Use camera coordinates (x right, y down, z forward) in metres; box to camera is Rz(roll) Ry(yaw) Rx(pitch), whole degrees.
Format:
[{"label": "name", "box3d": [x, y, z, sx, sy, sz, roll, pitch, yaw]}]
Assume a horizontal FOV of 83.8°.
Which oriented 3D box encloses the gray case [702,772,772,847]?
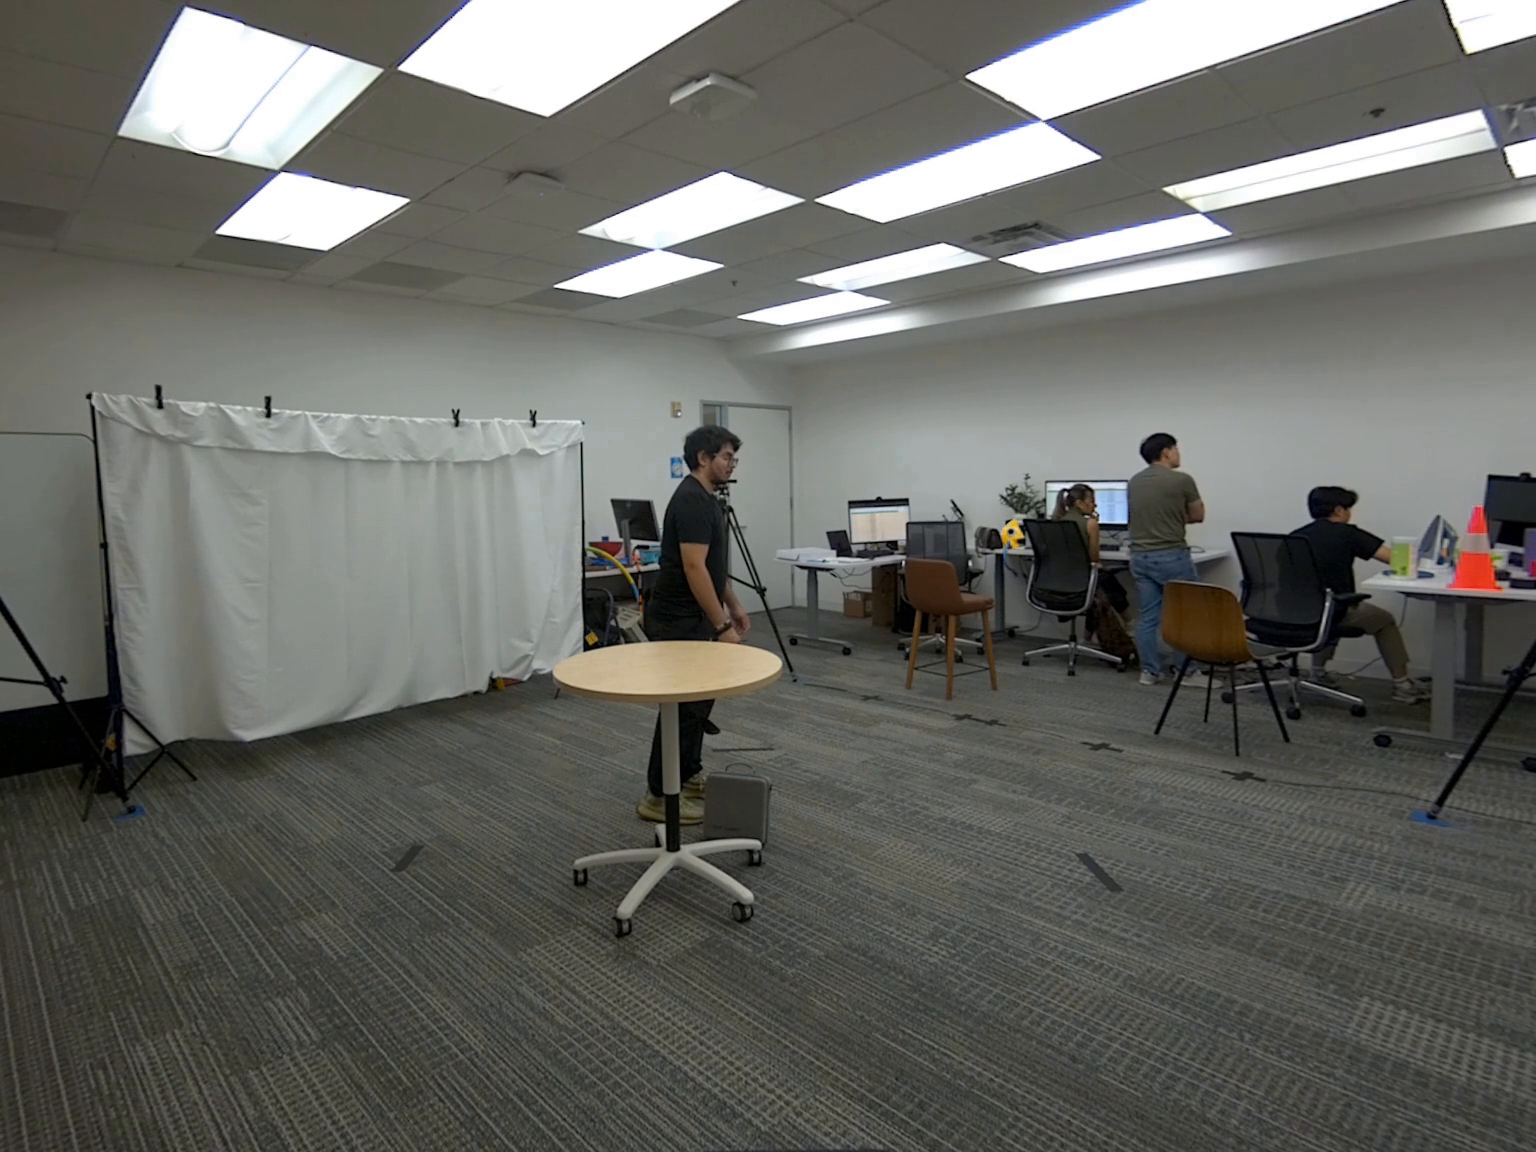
[{"label": "gray case", "box3d": [-0.120, 0.889, 3.317, 0.261, 0.262, 0.102, 2, -7, 18]}]
